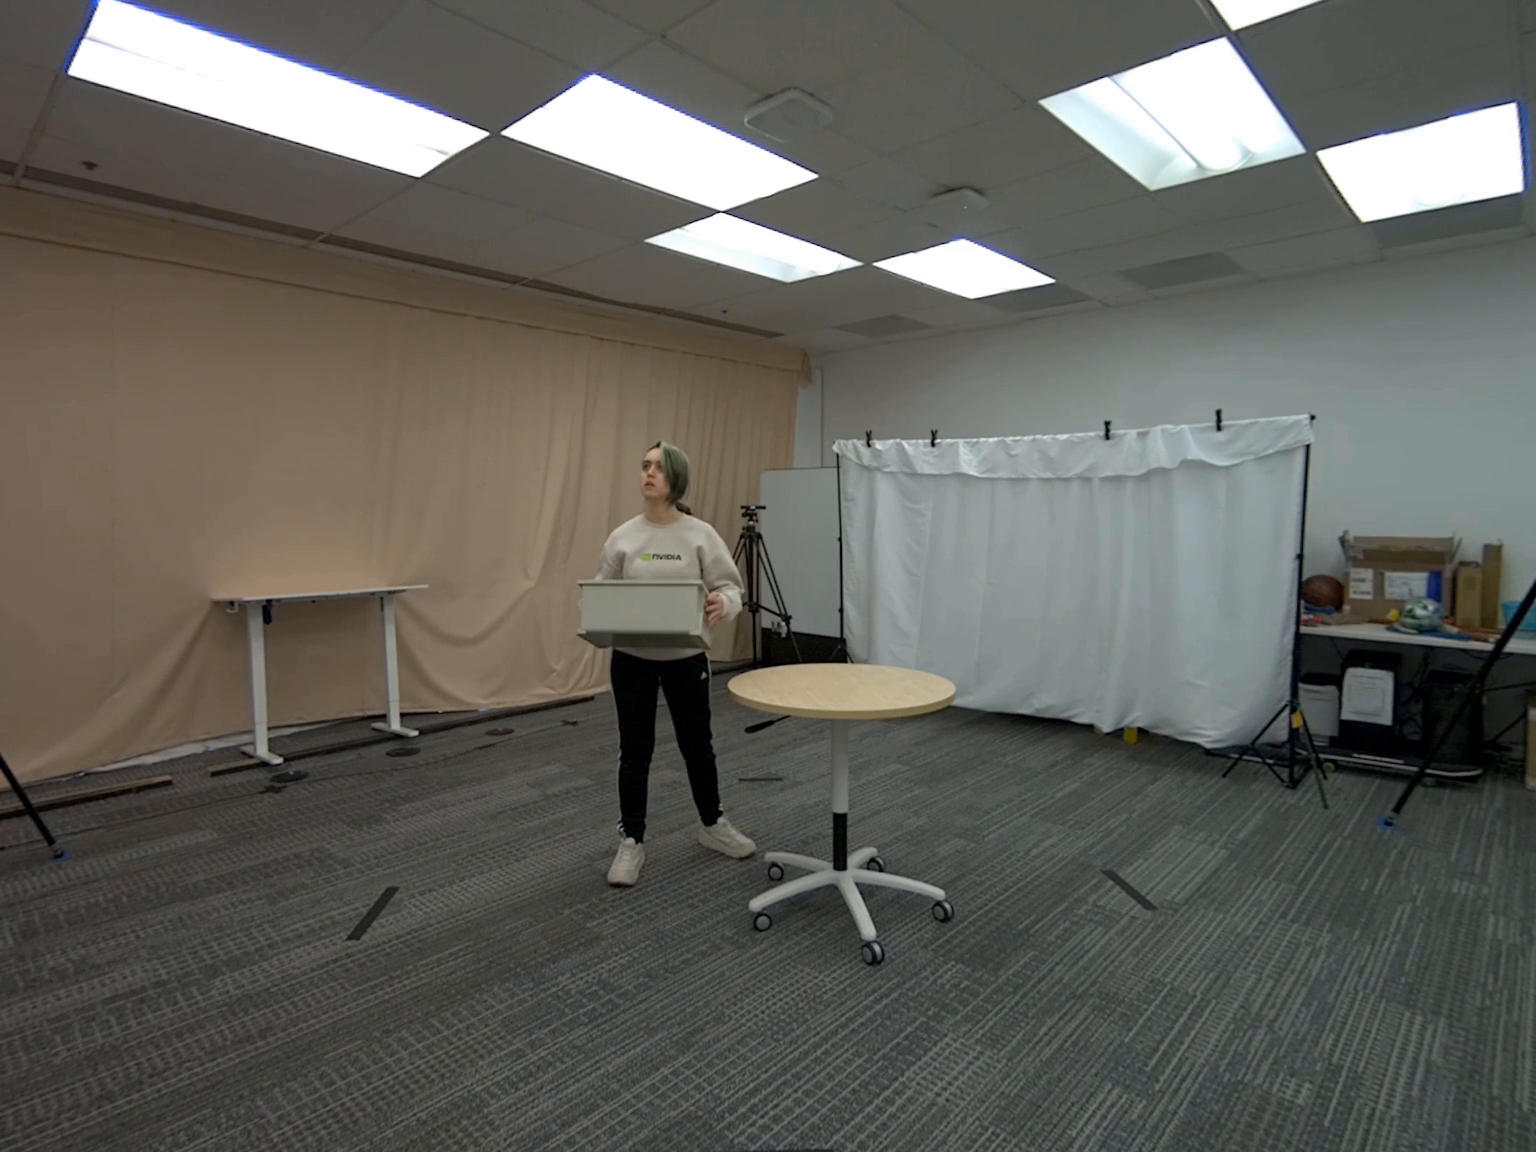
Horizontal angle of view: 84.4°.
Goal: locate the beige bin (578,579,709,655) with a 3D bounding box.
[{"bbox_3d":[-0.411,0.146,2.934,0.425,0.190,0.372,0,-13,4],"label":"beige bin"}]
